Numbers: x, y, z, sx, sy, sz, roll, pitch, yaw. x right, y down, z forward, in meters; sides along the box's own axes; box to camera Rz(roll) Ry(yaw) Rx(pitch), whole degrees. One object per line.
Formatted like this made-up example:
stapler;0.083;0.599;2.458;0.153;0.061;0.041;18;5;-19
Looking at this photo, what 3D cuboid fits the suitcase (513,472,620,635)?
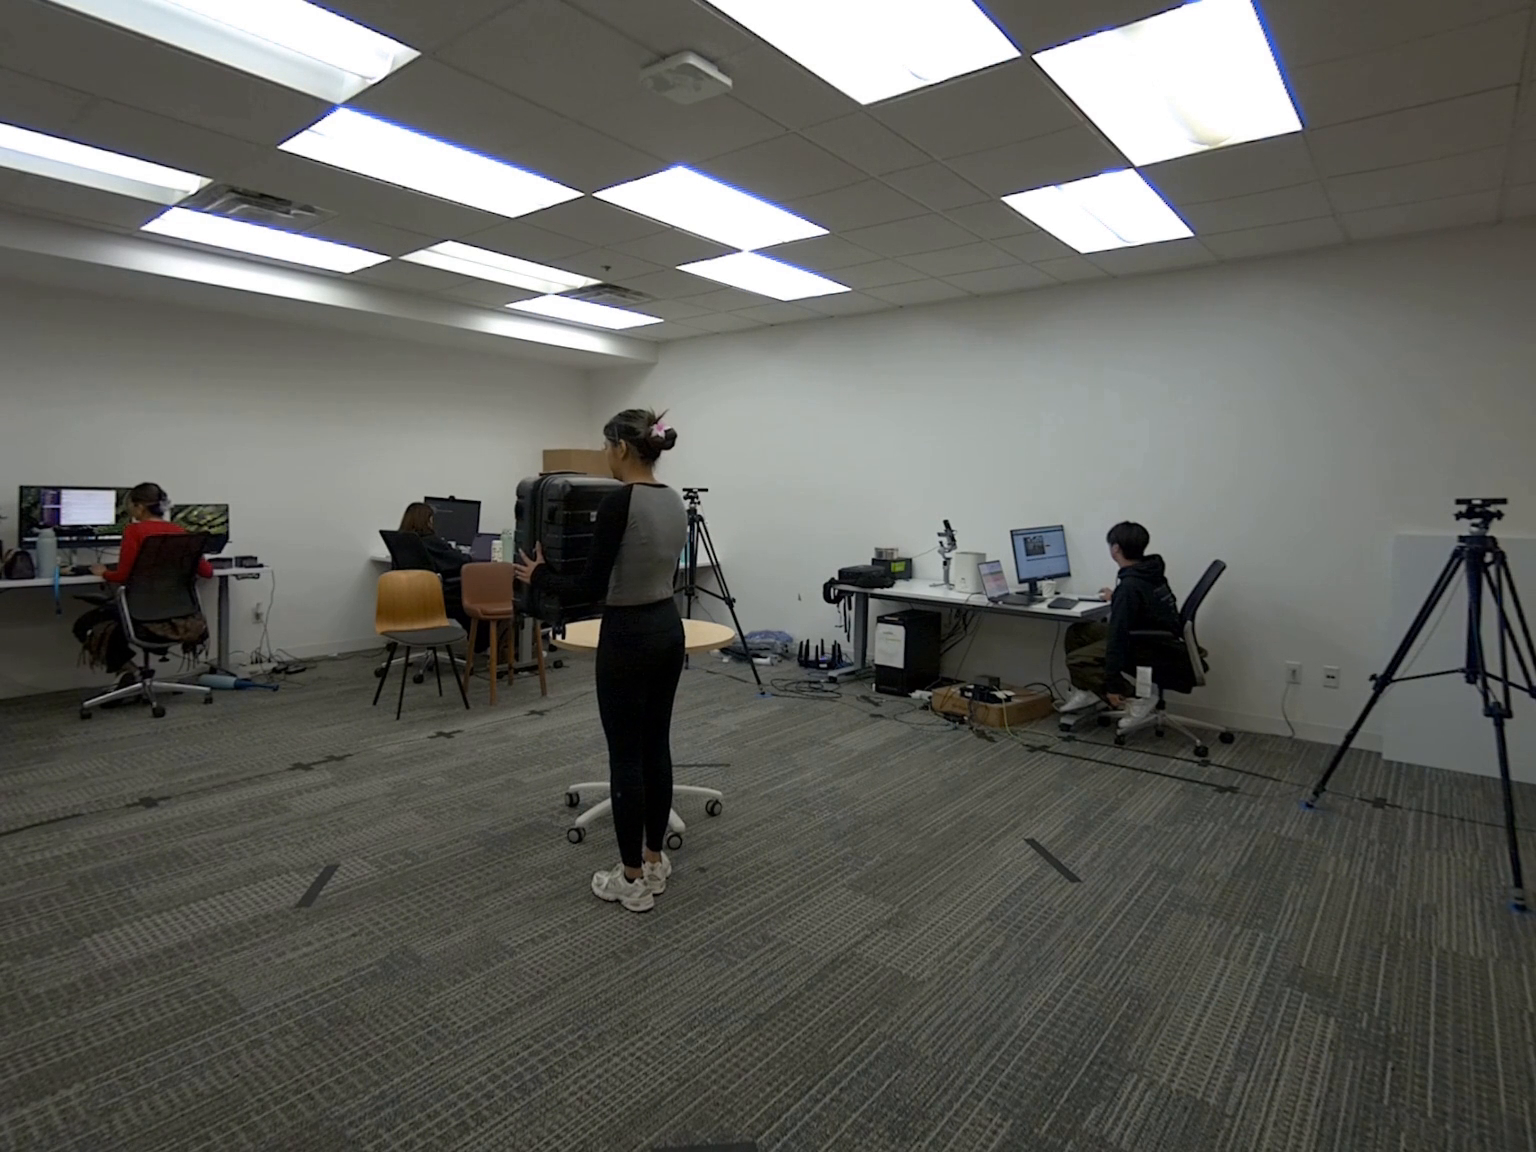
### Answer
suitcase;-0.710;-0.094;3.017;0.256;0.547;0.365;6;6;32
